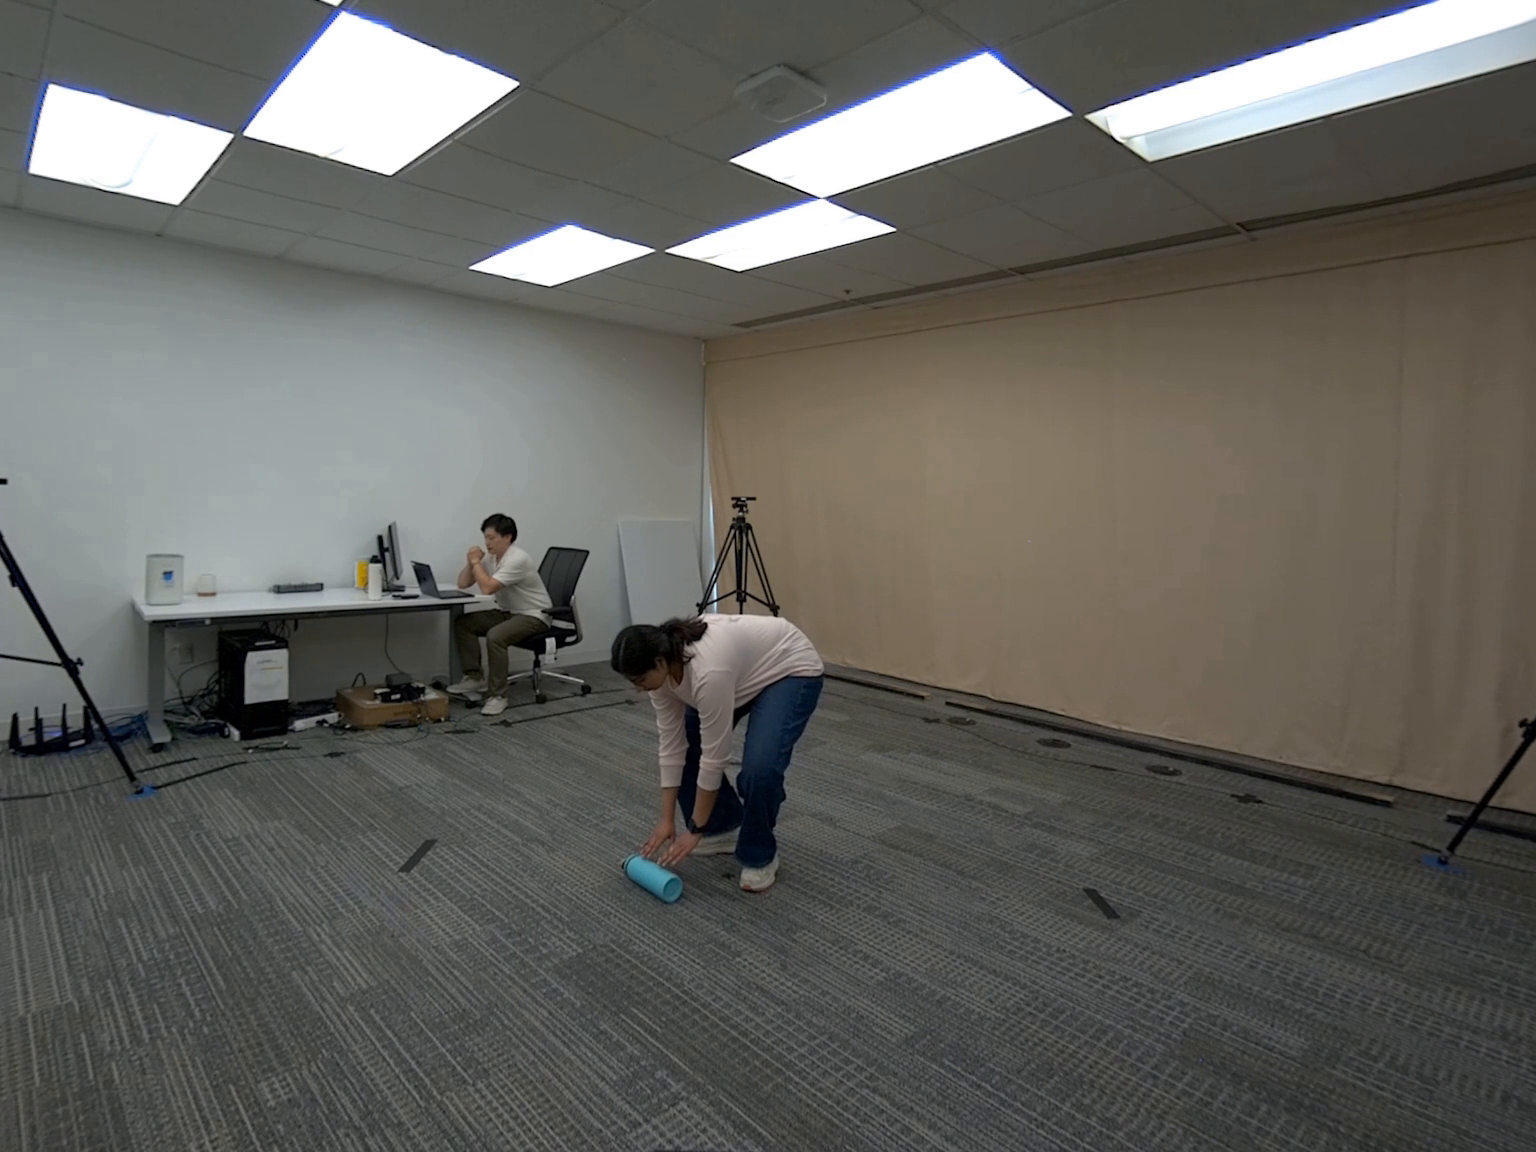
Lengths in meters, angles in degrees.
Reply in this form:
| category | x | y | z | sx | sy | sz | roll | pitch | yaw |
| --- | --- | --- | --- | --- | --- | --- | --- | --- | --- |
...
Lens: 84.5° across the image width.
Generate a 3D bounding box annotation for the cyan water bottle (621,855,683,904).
| category | x | y | z | sx | sy | sz | roll | pitch | yaw |
| --- | --- | --- | --- | --- | --- | --- | --- | --- | --- |
| cyan water bottle | -0.421 | 1.060 | 2.989 | 0.090 | 0.092 | 0.290 | -2 | 4 | -42 |
